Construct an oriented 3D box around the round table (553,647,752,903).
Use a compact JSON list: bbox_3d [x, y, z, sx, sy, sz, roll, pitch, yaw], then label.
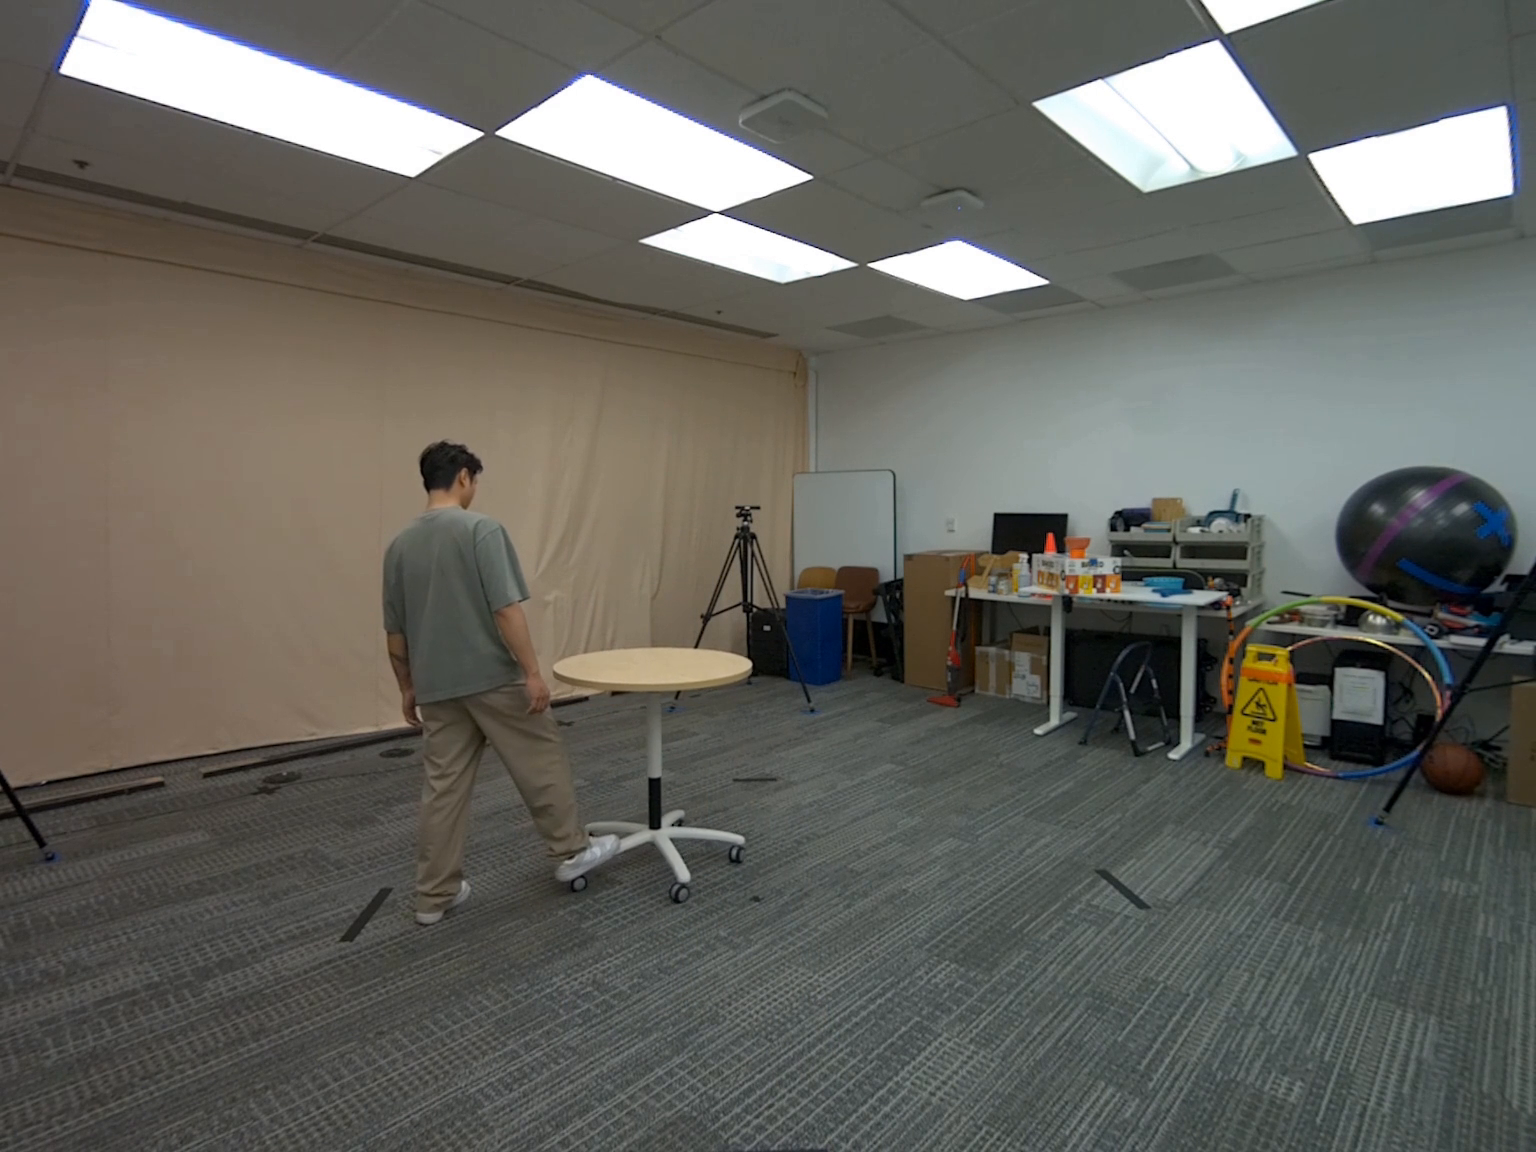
[{"bbox_3d":[-0.430,0.729,3.281,0.784,0.785,0.787,0,3,-2],"label":"round table"}]
